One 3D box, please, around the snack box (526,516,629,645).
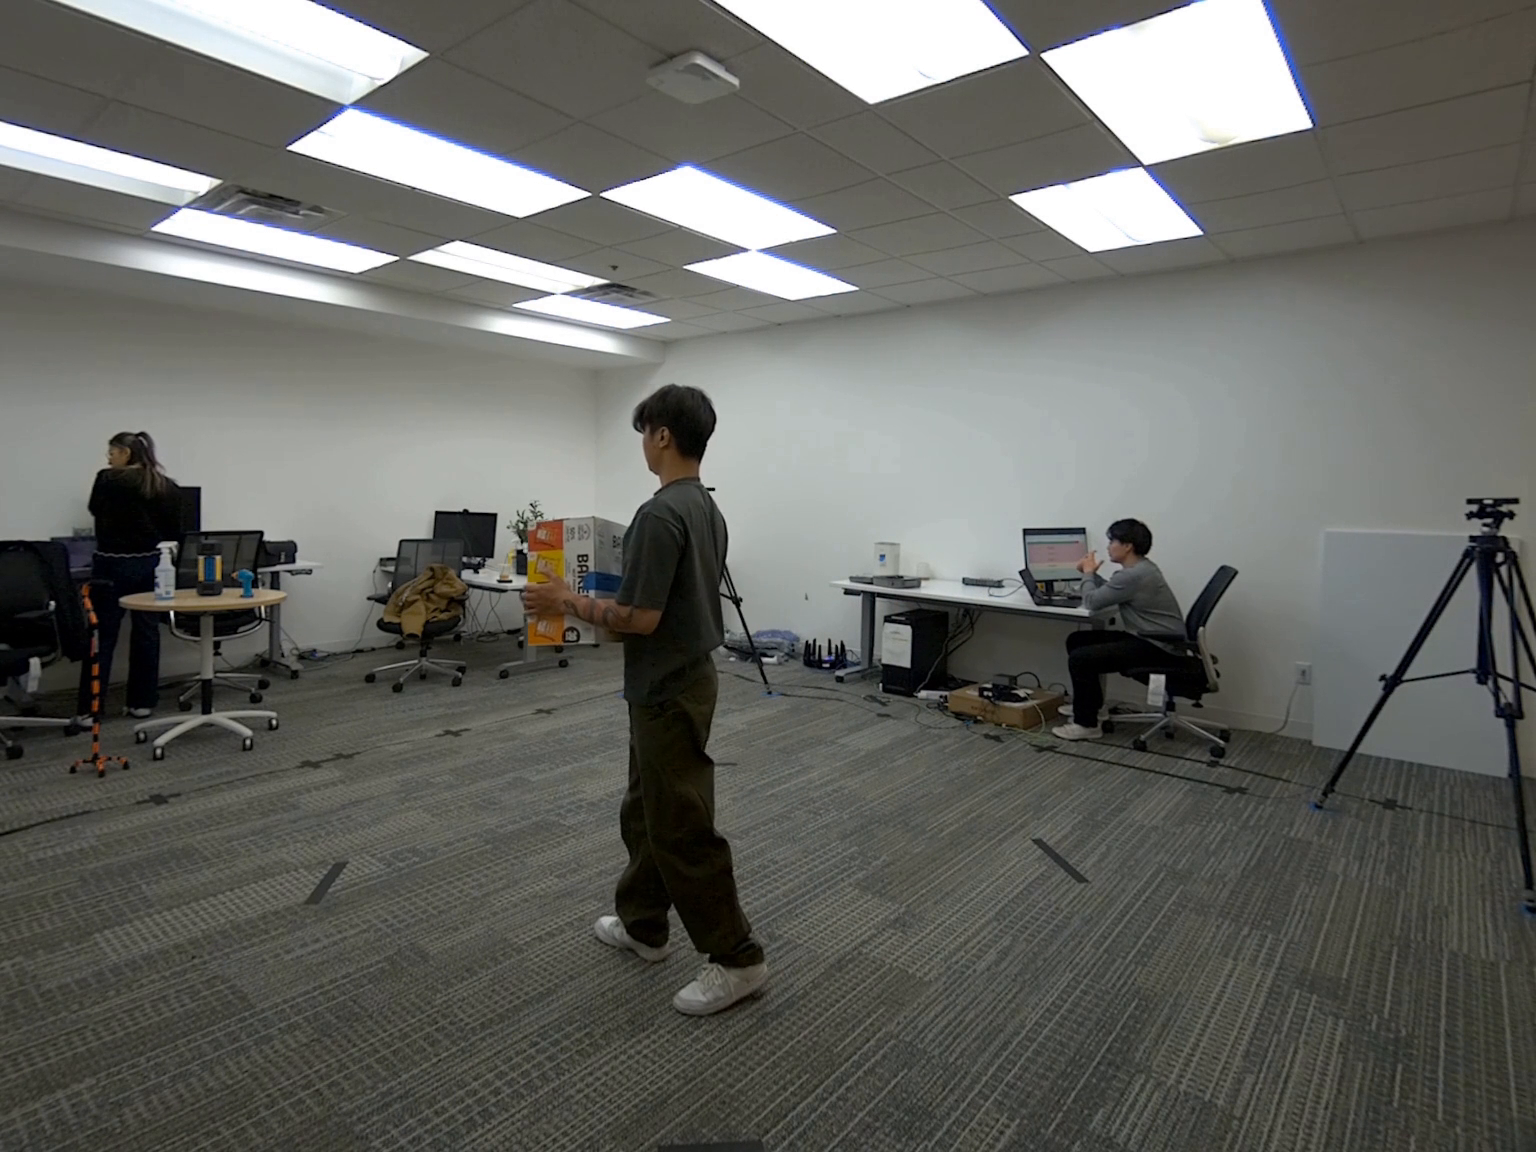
[{"bbox_3d":[-0.518,0.026,2.478,0.209,0.343,0.396,-4,-6,15],"label":"snack box"}]
